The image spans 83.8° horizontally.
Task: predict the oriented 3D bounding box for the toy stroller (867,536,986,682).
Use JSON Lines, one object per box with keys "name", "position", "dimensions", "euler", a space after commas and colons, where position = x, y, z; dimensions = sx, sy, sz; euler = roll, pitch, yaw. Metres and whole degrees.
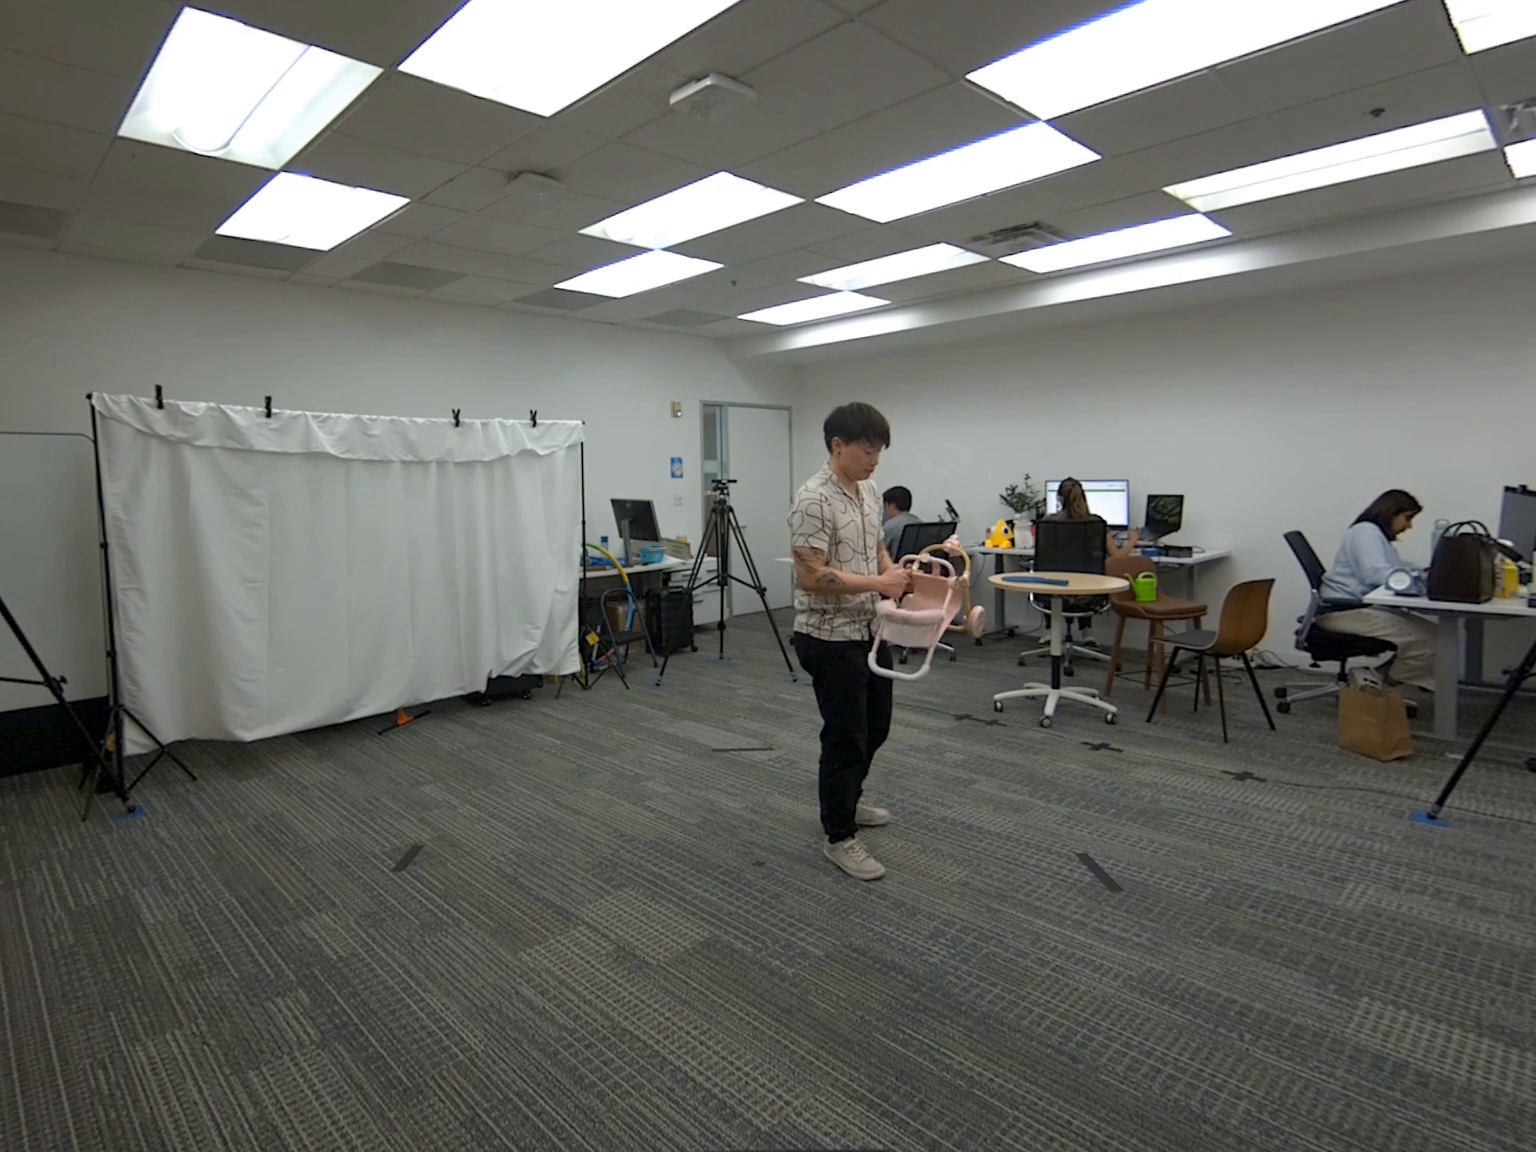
{"name": "toy stroller", "position": [0.542, 0.084, 2.886], "dimensions": [0.290, 0.335, 0.528], "euler": [13, 27, 33]}
